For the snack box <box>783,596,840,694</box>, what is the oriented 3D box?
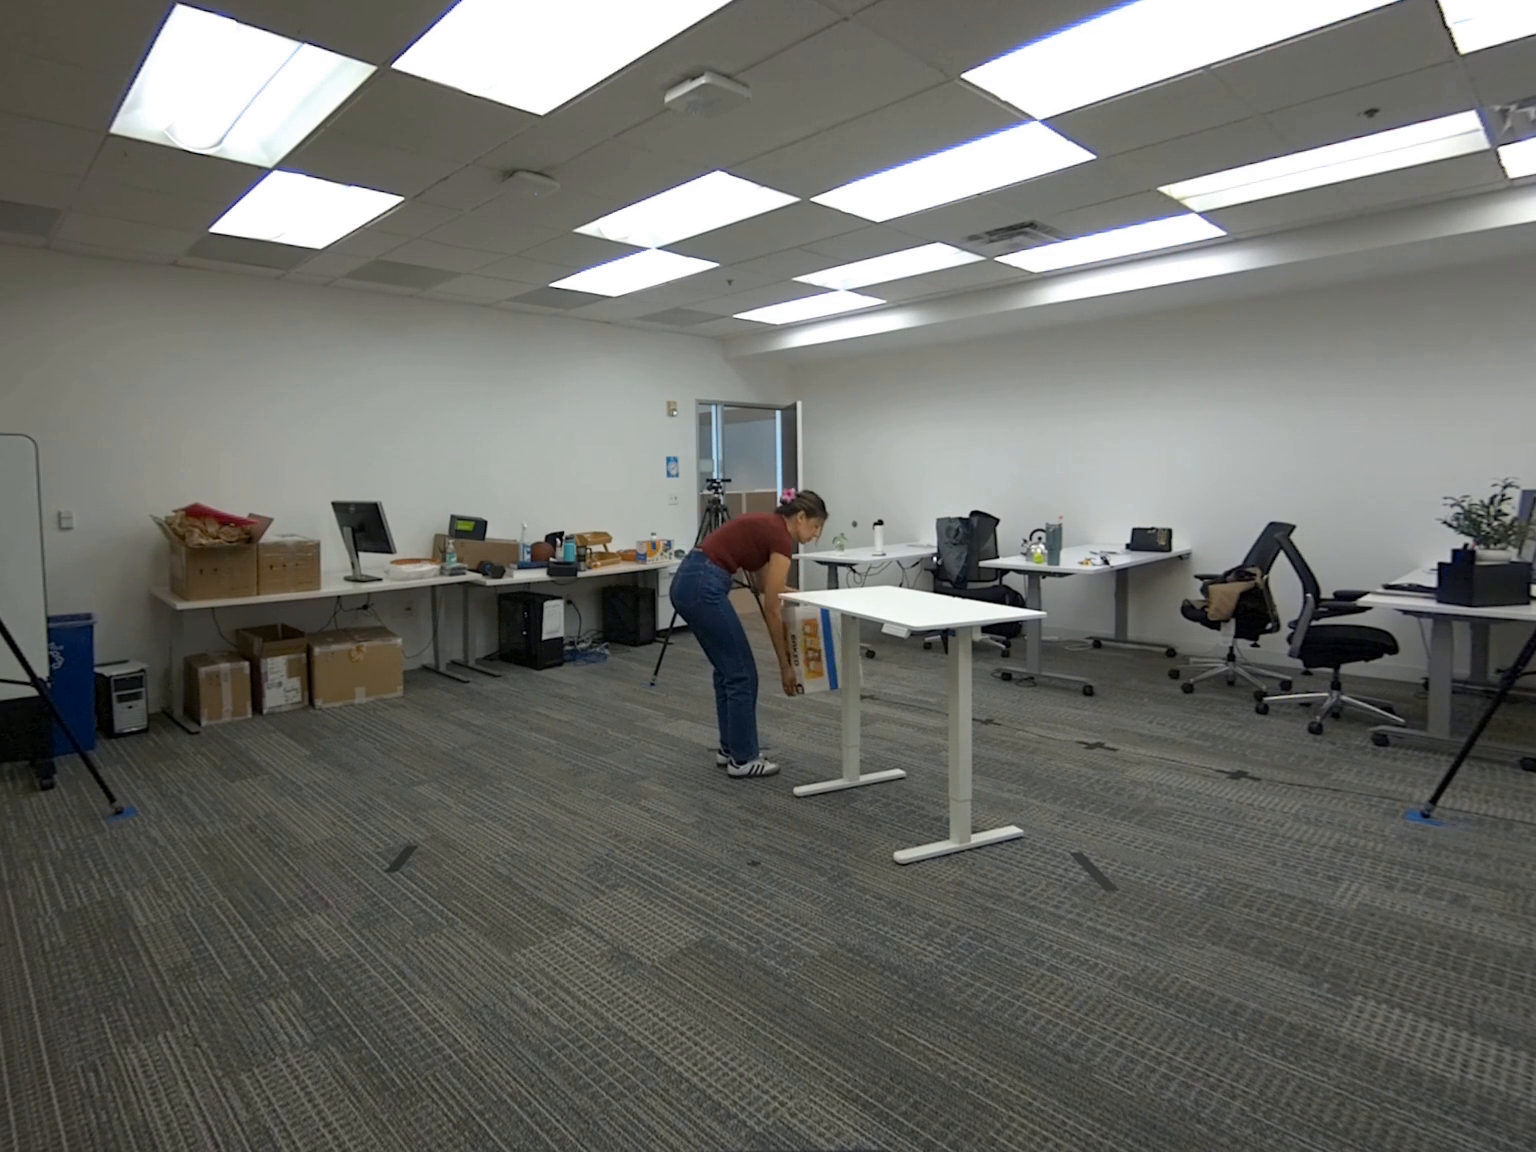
[{"bbox_3d":[0.236,0.342,4.114,0.333,0.408,0.209,-4,-6,-28],"label":"snack box"}]
